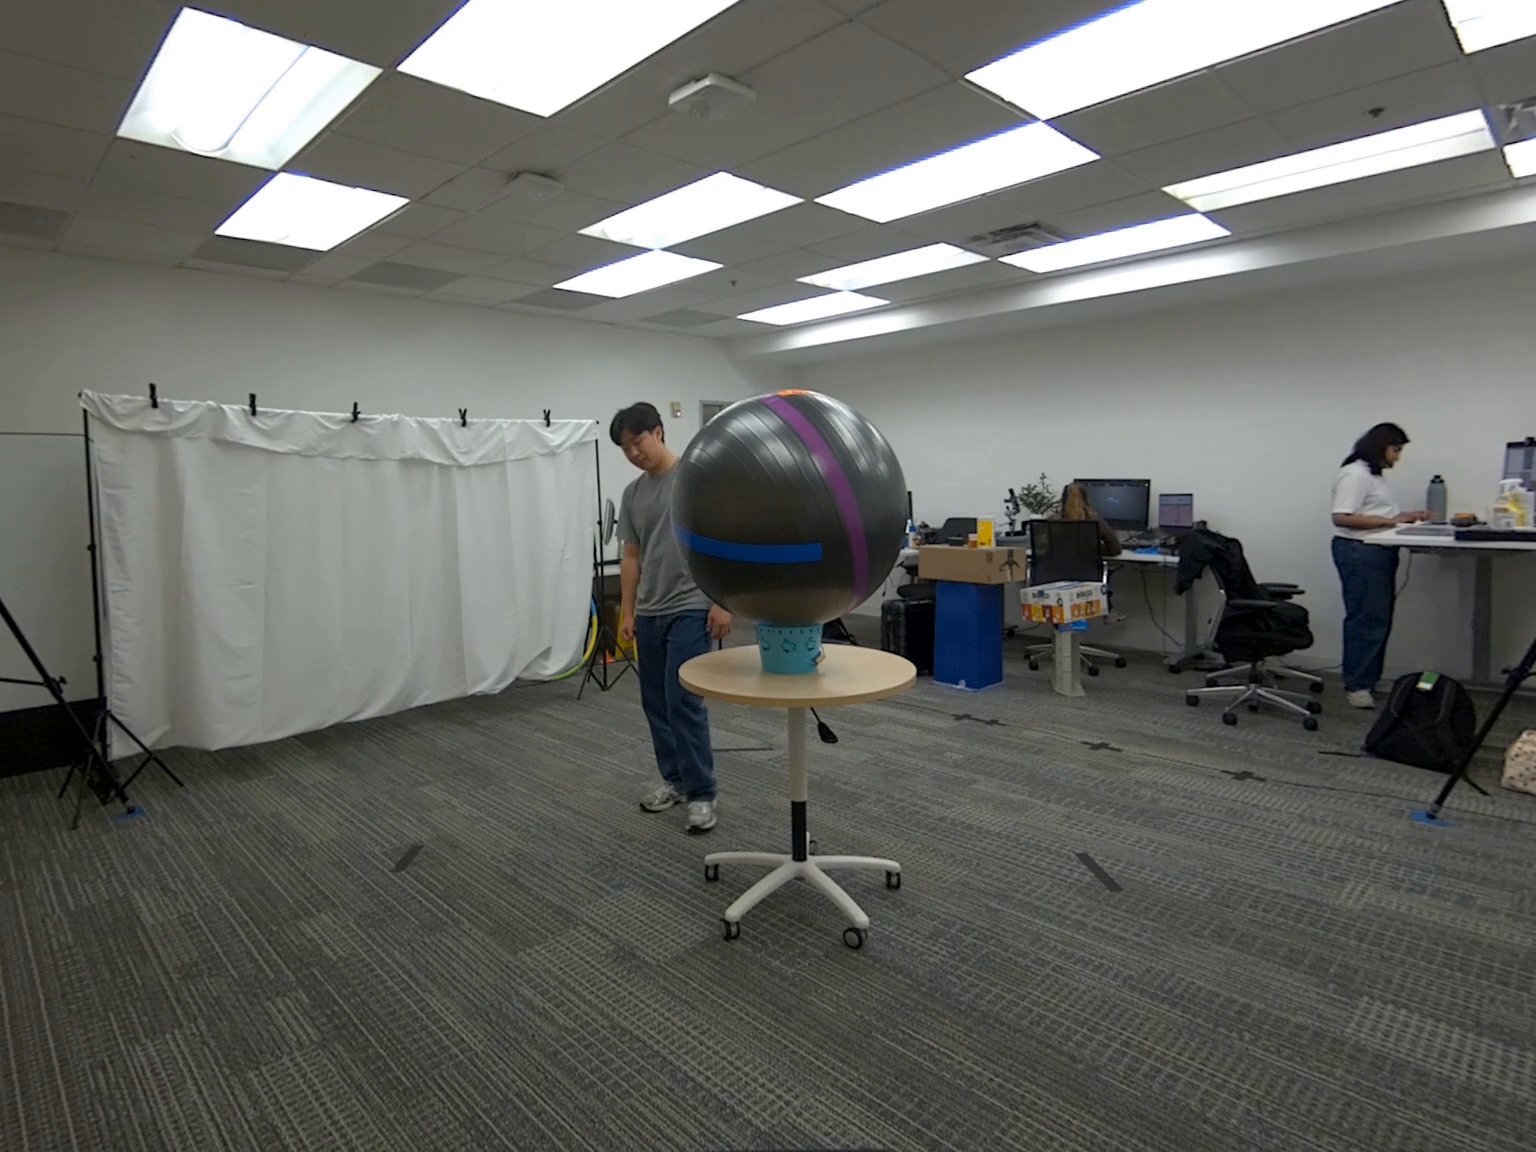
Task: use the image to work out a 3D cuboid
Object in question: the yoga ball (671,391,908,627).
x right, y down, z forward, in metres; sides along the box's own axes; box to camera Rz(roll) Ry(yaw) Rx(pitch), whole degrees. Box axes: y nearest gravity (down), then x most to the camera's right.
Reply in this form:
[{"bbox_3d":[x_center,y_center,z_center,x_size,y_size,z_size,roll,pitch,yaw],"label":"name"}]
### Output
[{"bbox_3d":[0.066,-0.209,2.739,0.757,0.755,0.762,-1,5,-2],"label":"yoga ball"}]
